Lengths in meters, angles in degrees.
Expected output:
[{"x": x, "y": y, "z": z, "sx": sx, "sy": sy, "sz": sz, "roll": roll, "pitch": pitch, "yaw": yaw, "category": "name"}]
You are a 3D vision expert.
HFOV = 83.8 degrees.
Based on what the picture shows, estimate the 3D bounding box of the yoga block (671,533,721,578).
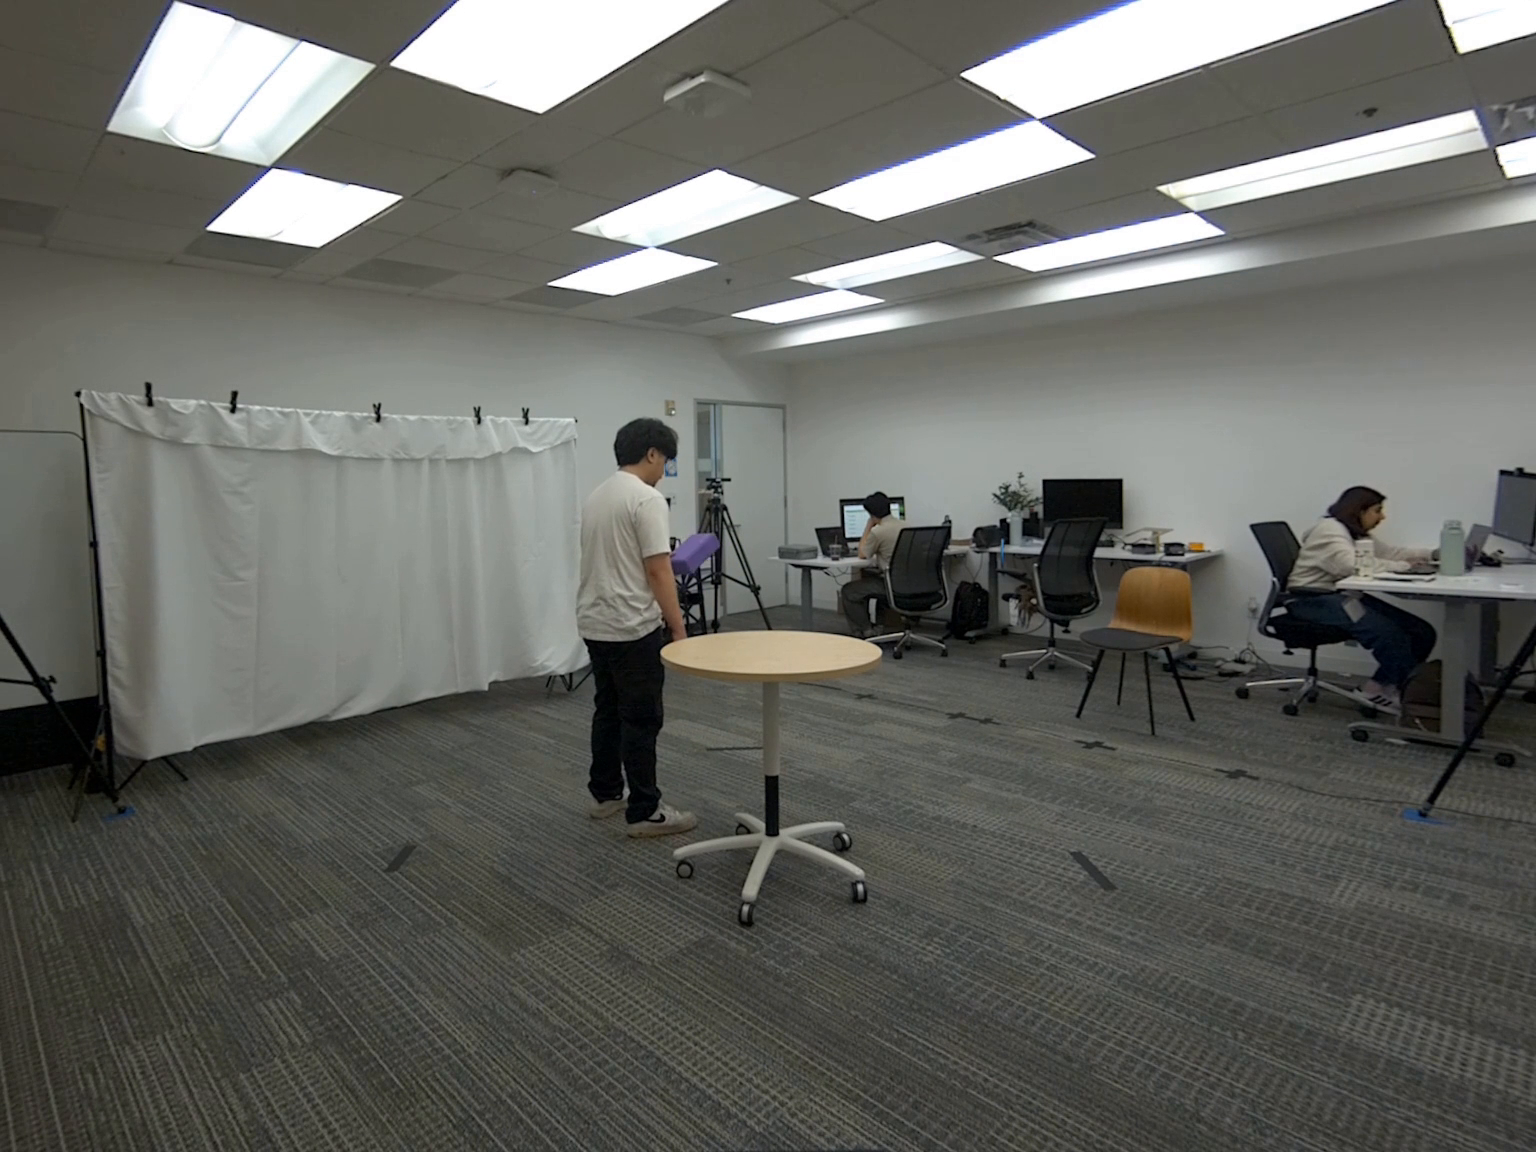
[{"x": -0.342, "y": -0.094, "z": 3.747, "sx": 0.153, "sy": 0.074, "sz": 0.229, "roll": -2, "pitch": 32, "yaw": 42, "category": "yoga block"}]
